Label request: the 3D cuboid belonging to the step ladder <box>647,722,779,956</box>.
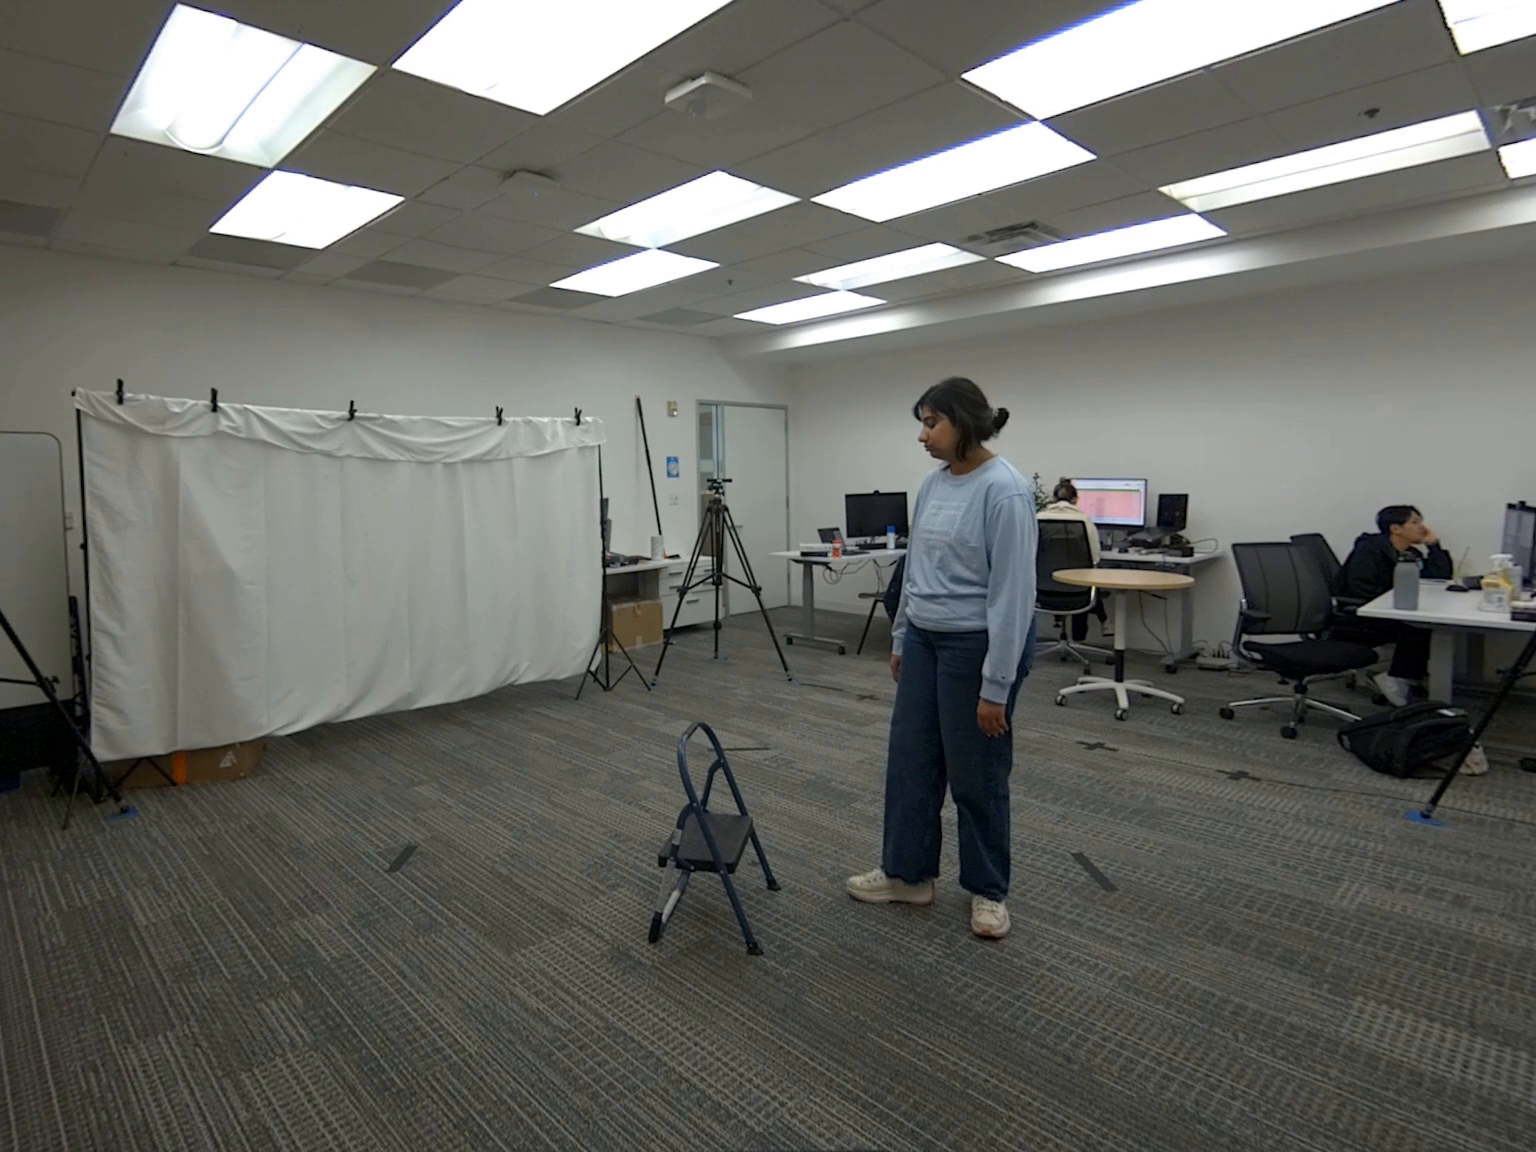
[{"bbox_3d":[-0.164,0.790,2.727,0.353,0.604,0.427,0,4,10],"label":"step ladder"}]
